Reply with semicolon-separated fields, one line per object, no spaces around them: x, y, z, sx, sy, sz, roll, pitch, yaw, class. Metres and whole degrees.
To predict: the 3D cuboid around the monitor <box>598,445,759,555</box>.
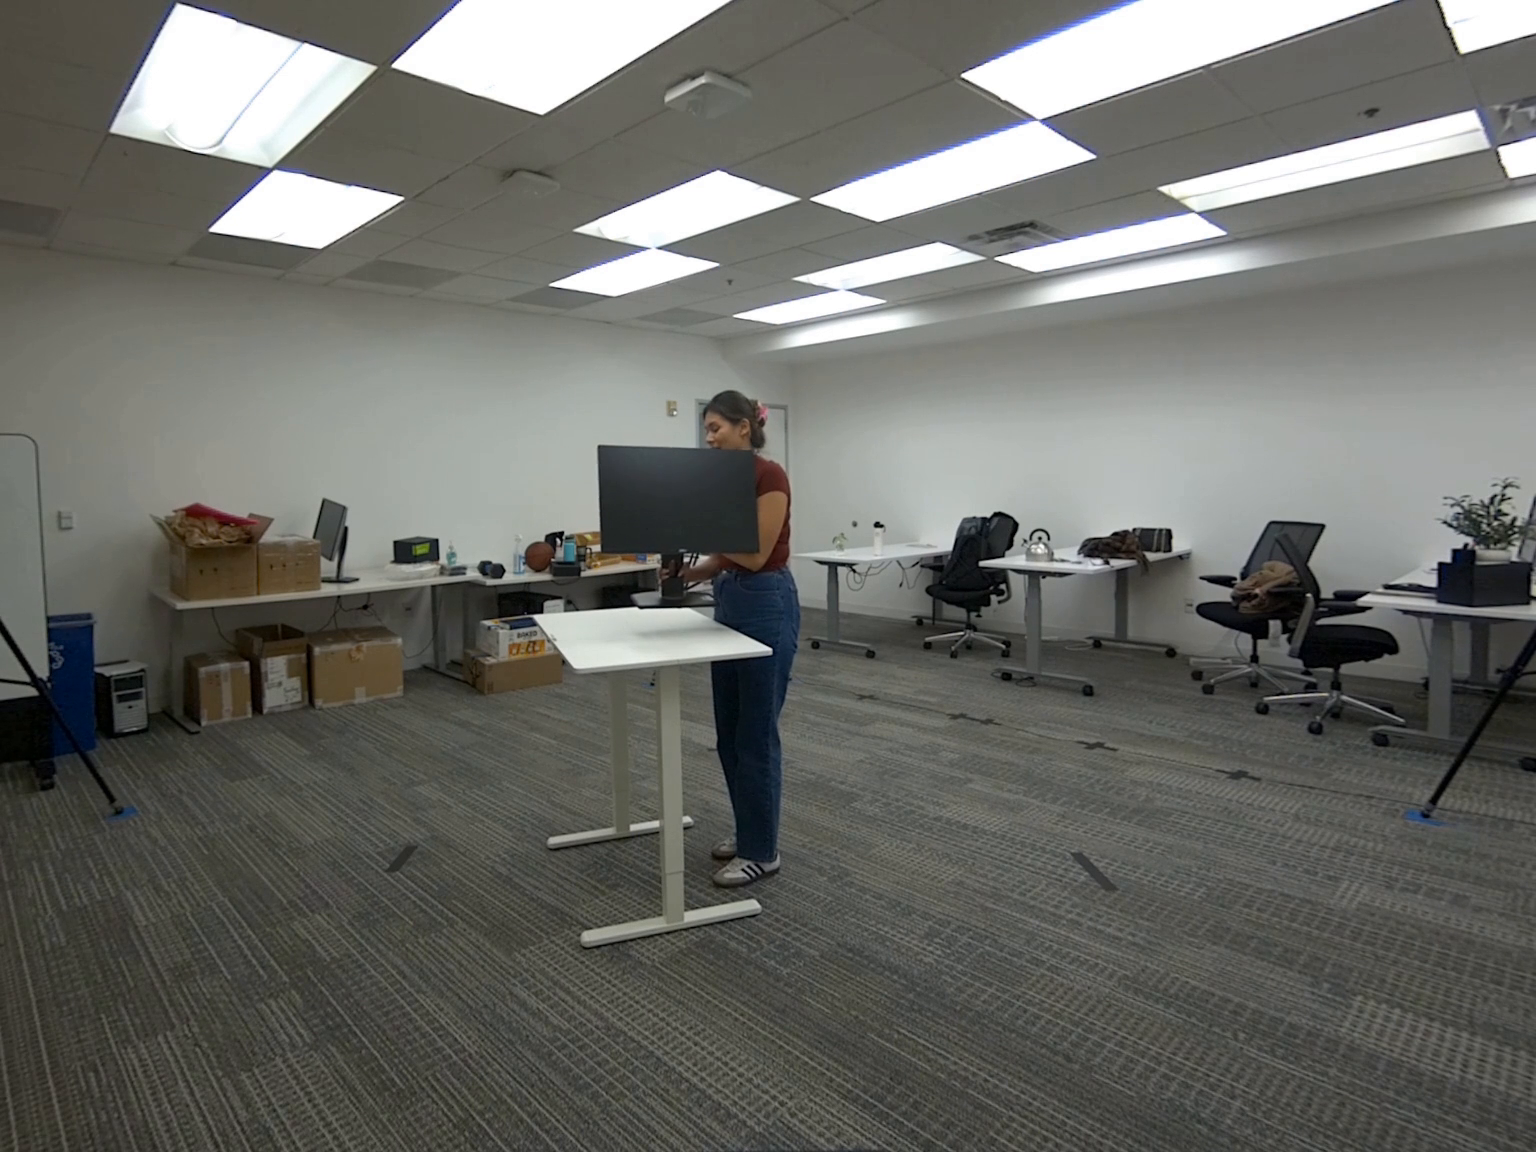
-0.308;-0.163;2.833;0.528;0.520;0.192;0;6;-22;monitor
